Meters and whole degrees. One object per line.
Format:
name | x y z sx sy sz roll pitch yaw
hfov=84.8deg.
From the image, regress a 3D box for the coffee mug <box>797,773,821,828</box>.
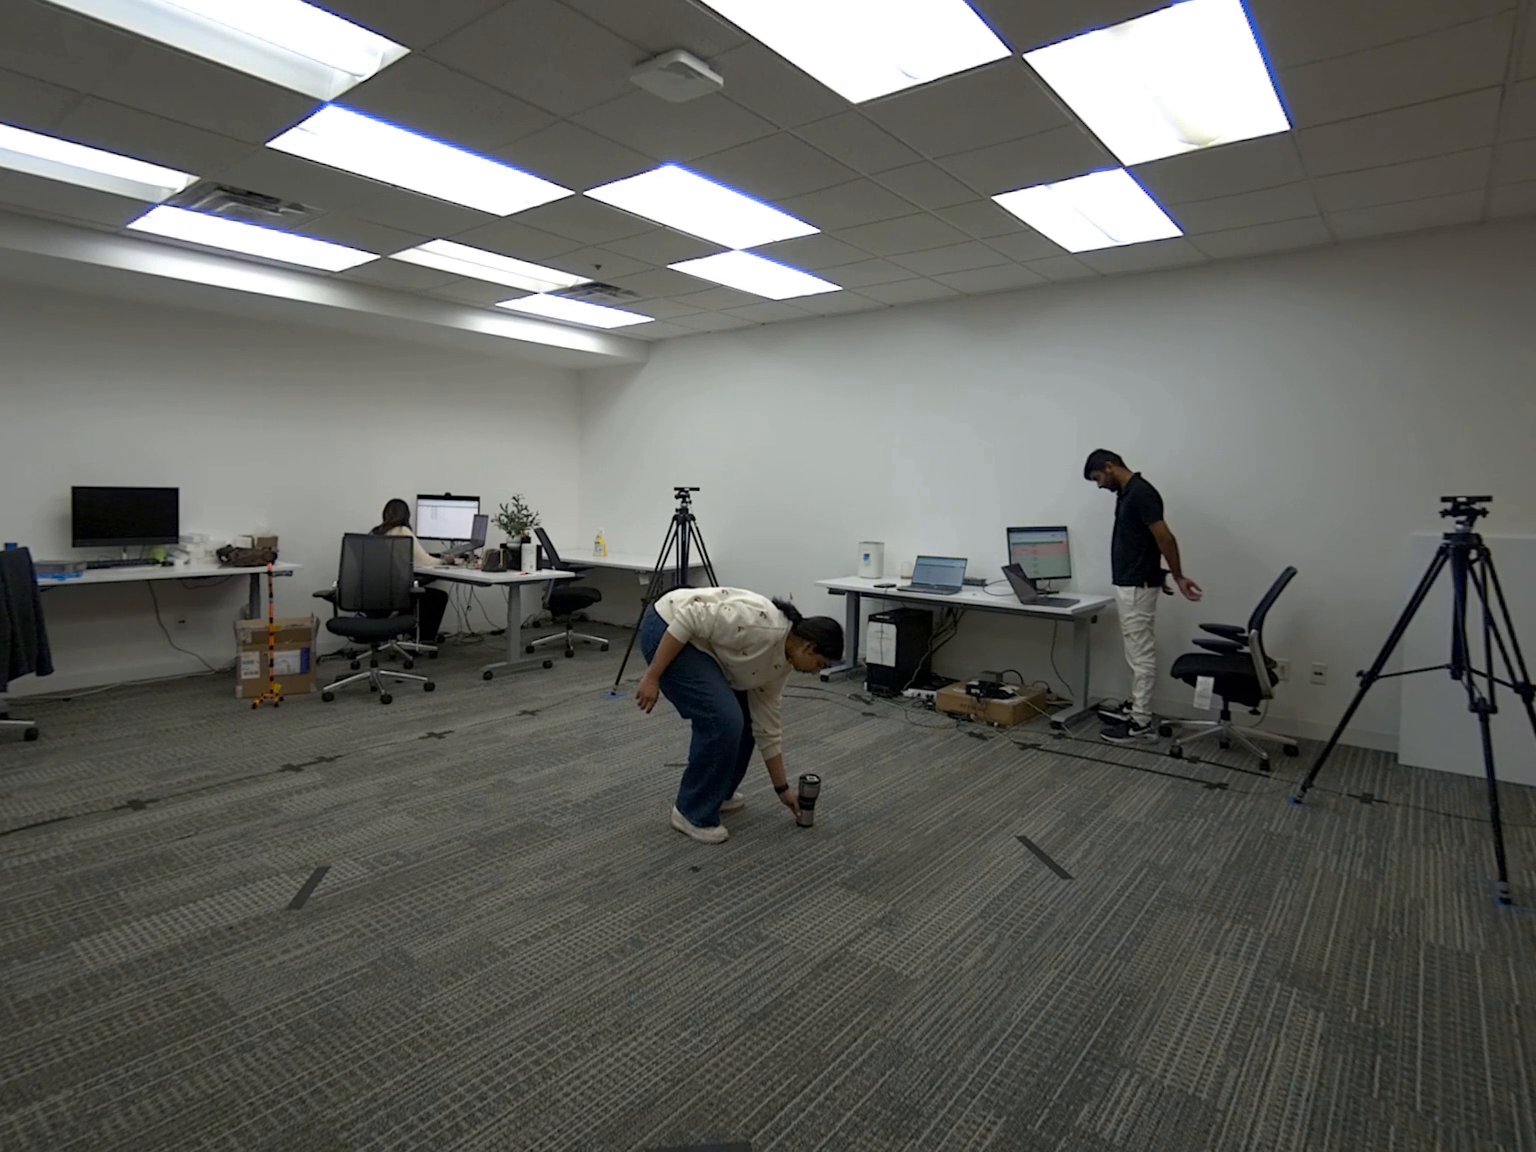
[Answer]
coffee mug | 0.169 0.933 3.539 0.091 0.202 0.118 8 9 39
